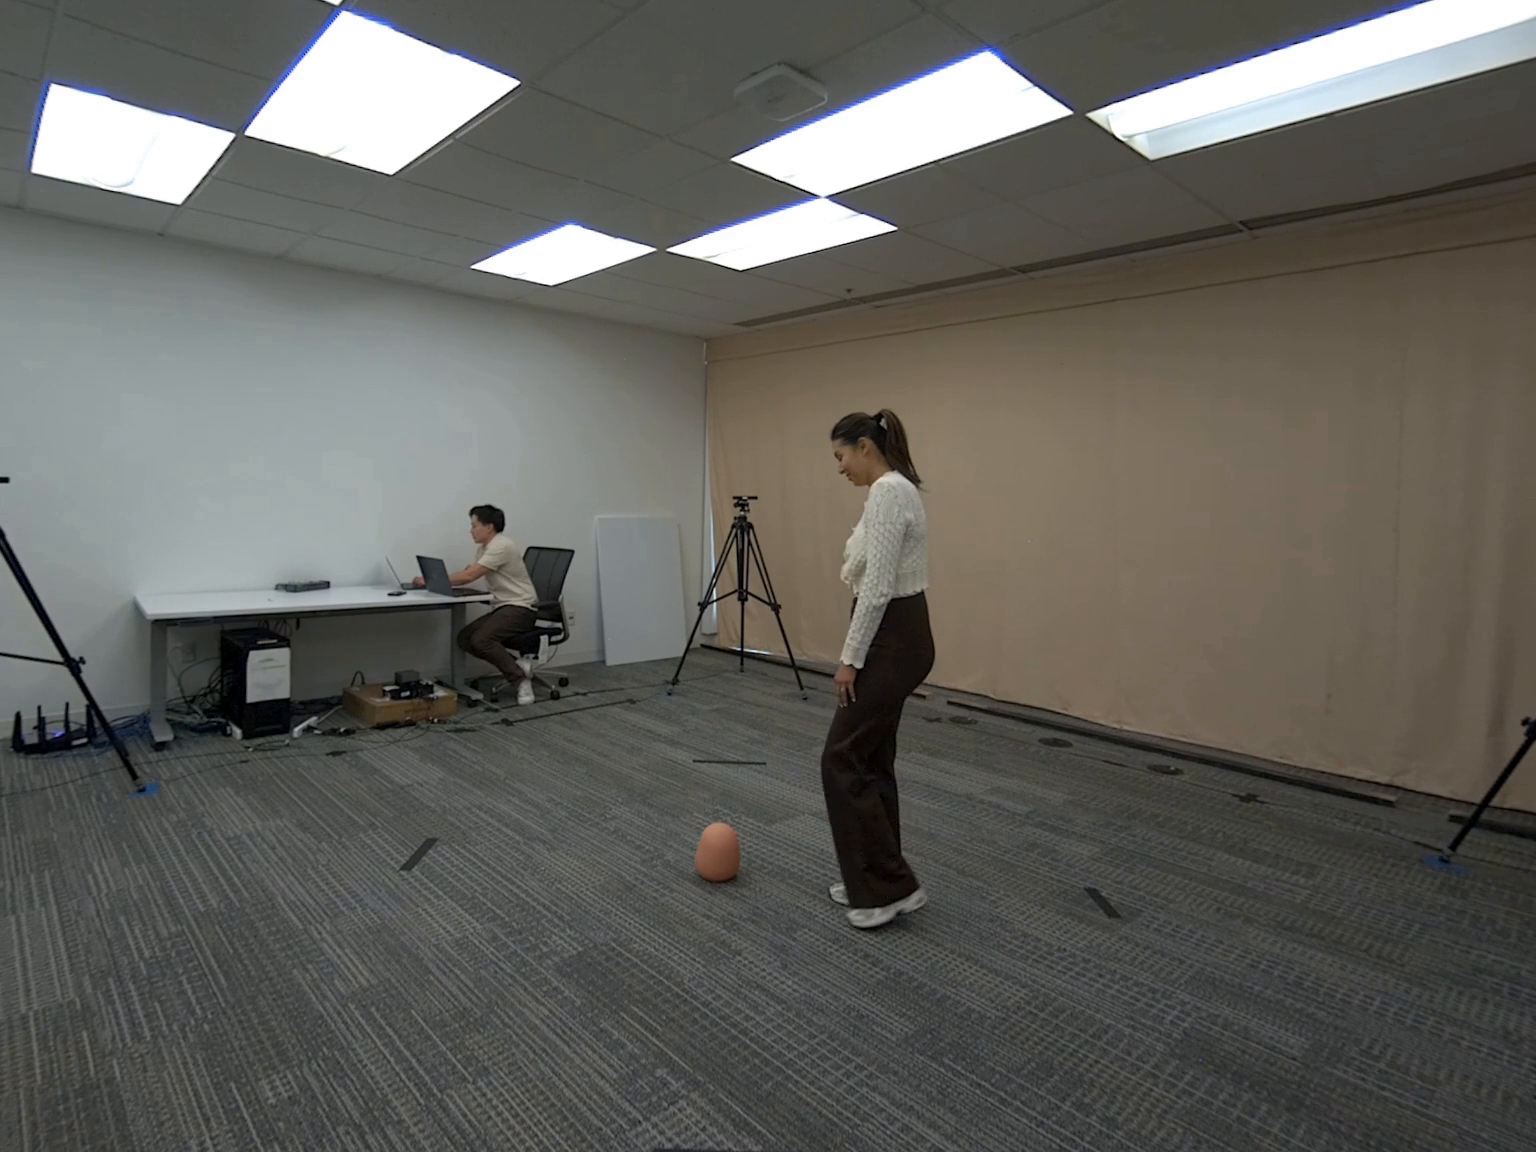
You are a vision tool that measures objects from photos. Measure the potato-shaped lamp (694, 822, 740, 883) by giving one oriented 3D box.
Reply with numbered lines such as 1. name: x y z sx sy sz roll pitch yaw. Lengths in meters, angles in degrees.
1. potato-shaped lamp: -0.190 1.003 3.082 0.162 0.198 0.174 2 3 -21
